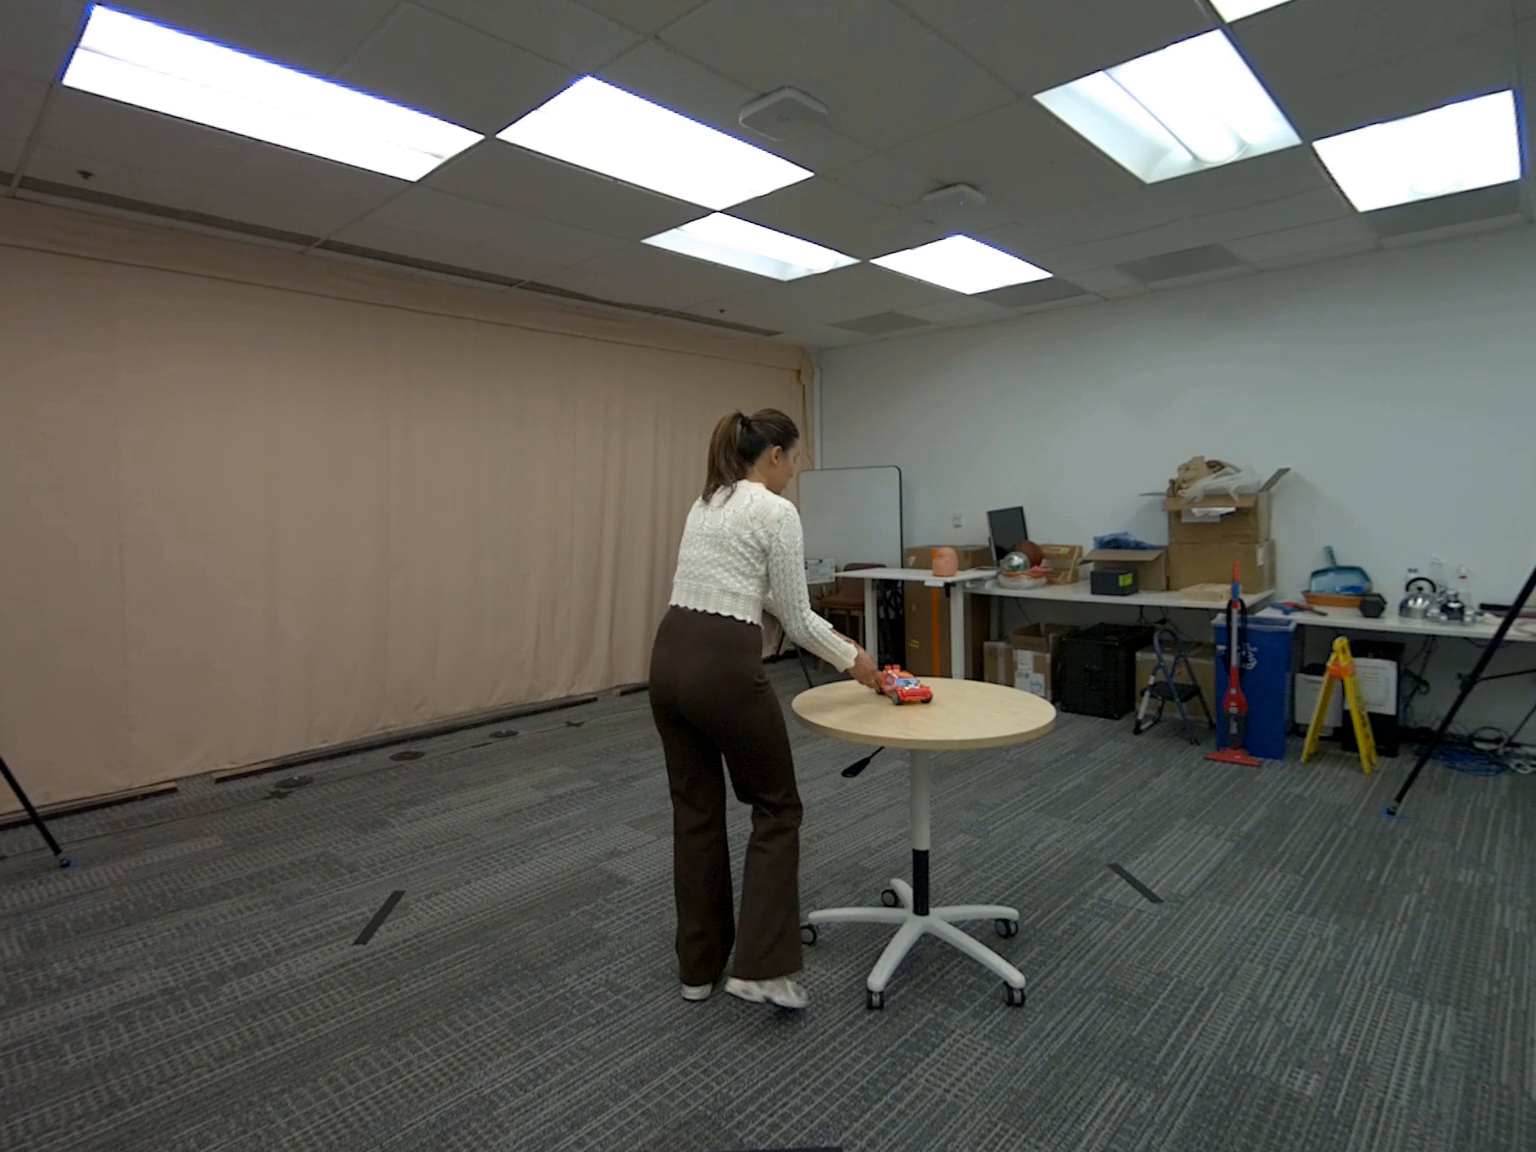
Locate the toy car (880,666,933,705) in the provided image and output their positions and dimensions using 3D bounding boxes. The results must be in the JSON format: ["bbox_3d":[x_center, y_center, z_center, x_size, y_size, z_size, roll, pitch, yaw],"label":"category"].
[{"bbox_3d":[0.418,0.346,2.625,0.129,0.082,0.260,-4,16,-12],"label":"toy car"}]
